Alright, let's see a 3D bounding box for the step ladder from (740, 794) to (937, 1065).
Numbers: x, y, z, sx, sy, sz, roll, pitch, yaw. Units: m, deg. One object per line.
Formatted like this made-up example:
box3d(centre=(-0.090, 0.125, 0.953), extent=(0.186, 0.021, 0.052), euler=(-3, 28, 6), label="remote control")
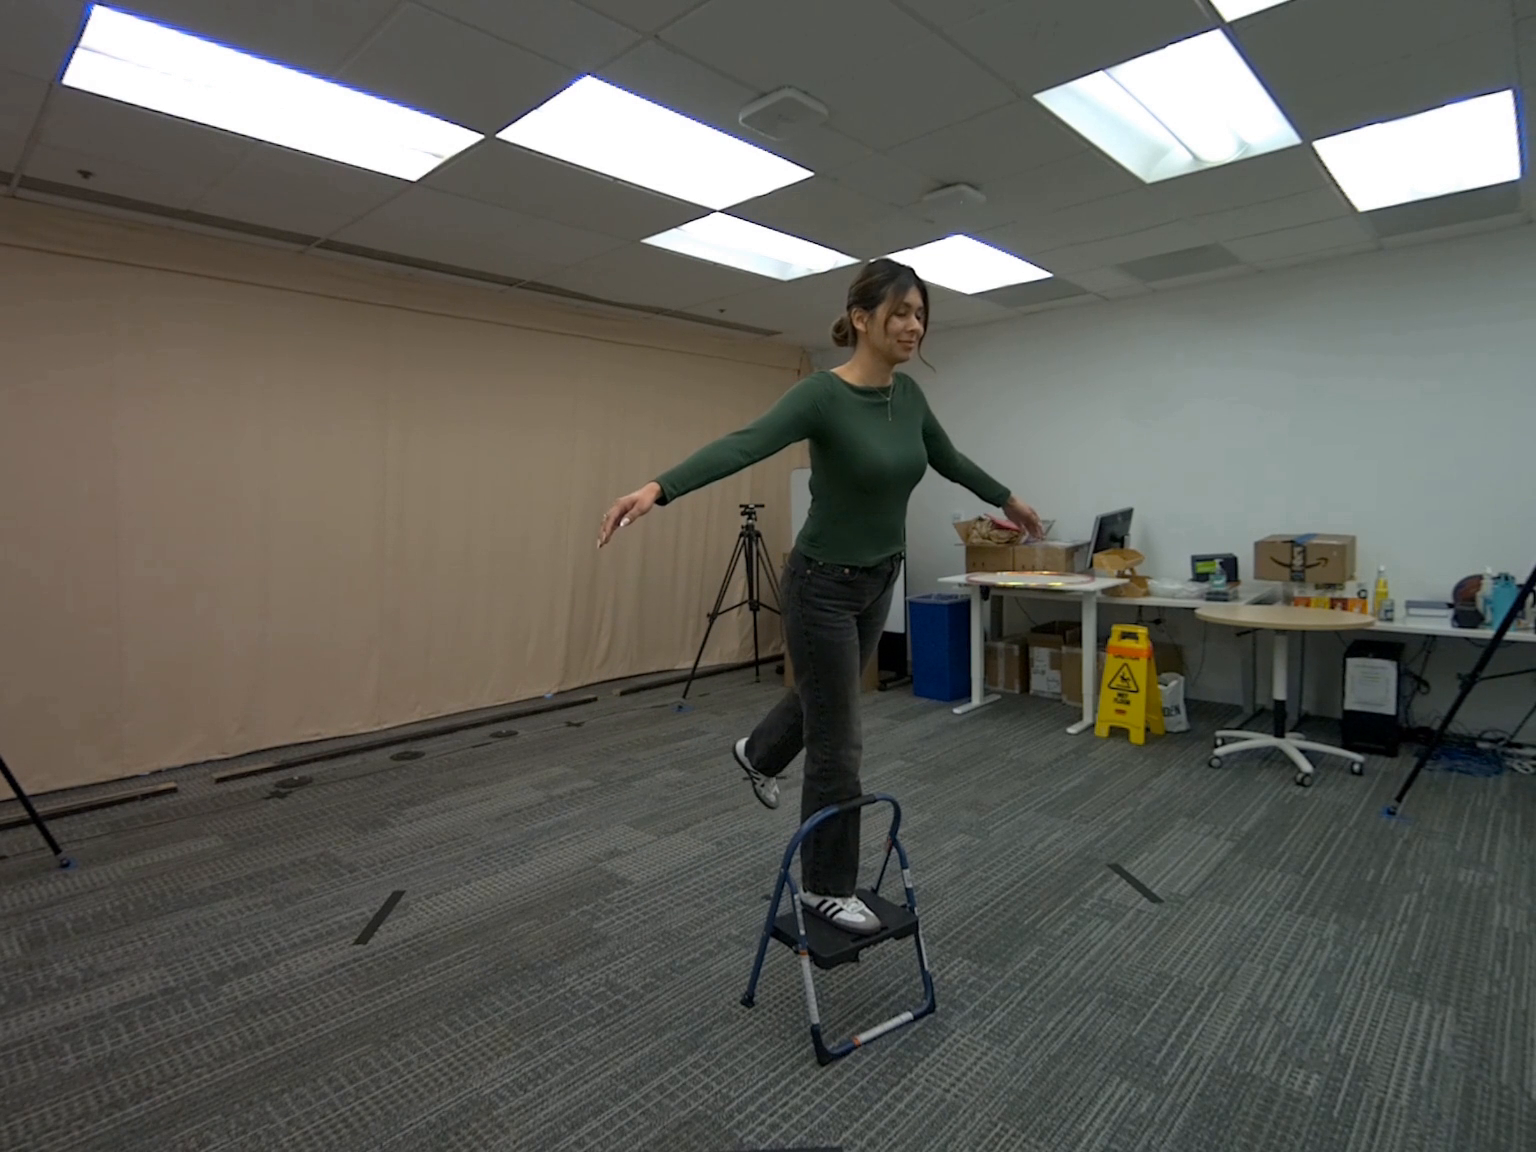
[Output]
box3d(centre=(0.196, 0.893, 2.317), extent=(0.418, 0.604, 0.360), euler=(-4, 5, -36), label="step ladder")
